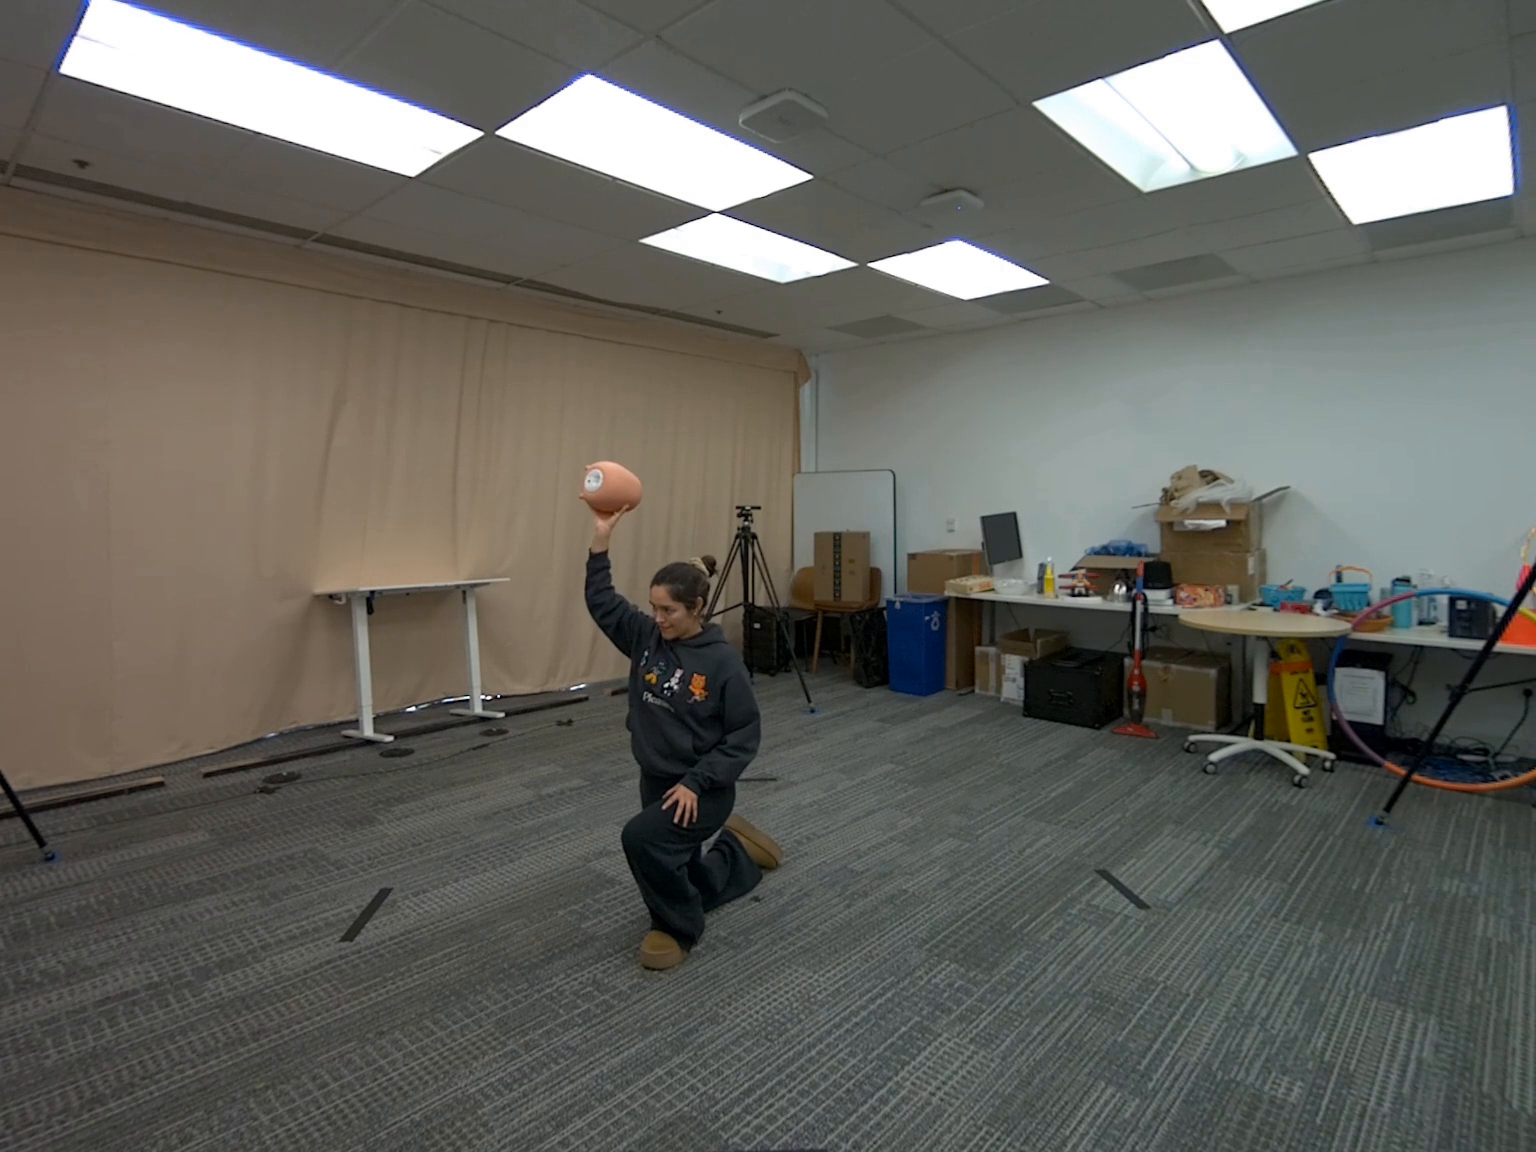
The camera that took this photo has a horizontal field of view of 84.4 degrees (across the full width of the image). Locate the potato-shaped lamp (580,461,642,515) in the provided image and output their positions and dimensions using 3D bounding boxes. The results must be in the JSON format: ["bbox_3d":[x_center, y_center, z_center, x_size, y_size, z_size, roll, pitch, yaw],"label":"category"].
[{"bbox_3d":[-0.520,-0.294,2.865,0.176,0.166,0.191,-3,-14,34],"label":"potato-shaped lamp"}]
